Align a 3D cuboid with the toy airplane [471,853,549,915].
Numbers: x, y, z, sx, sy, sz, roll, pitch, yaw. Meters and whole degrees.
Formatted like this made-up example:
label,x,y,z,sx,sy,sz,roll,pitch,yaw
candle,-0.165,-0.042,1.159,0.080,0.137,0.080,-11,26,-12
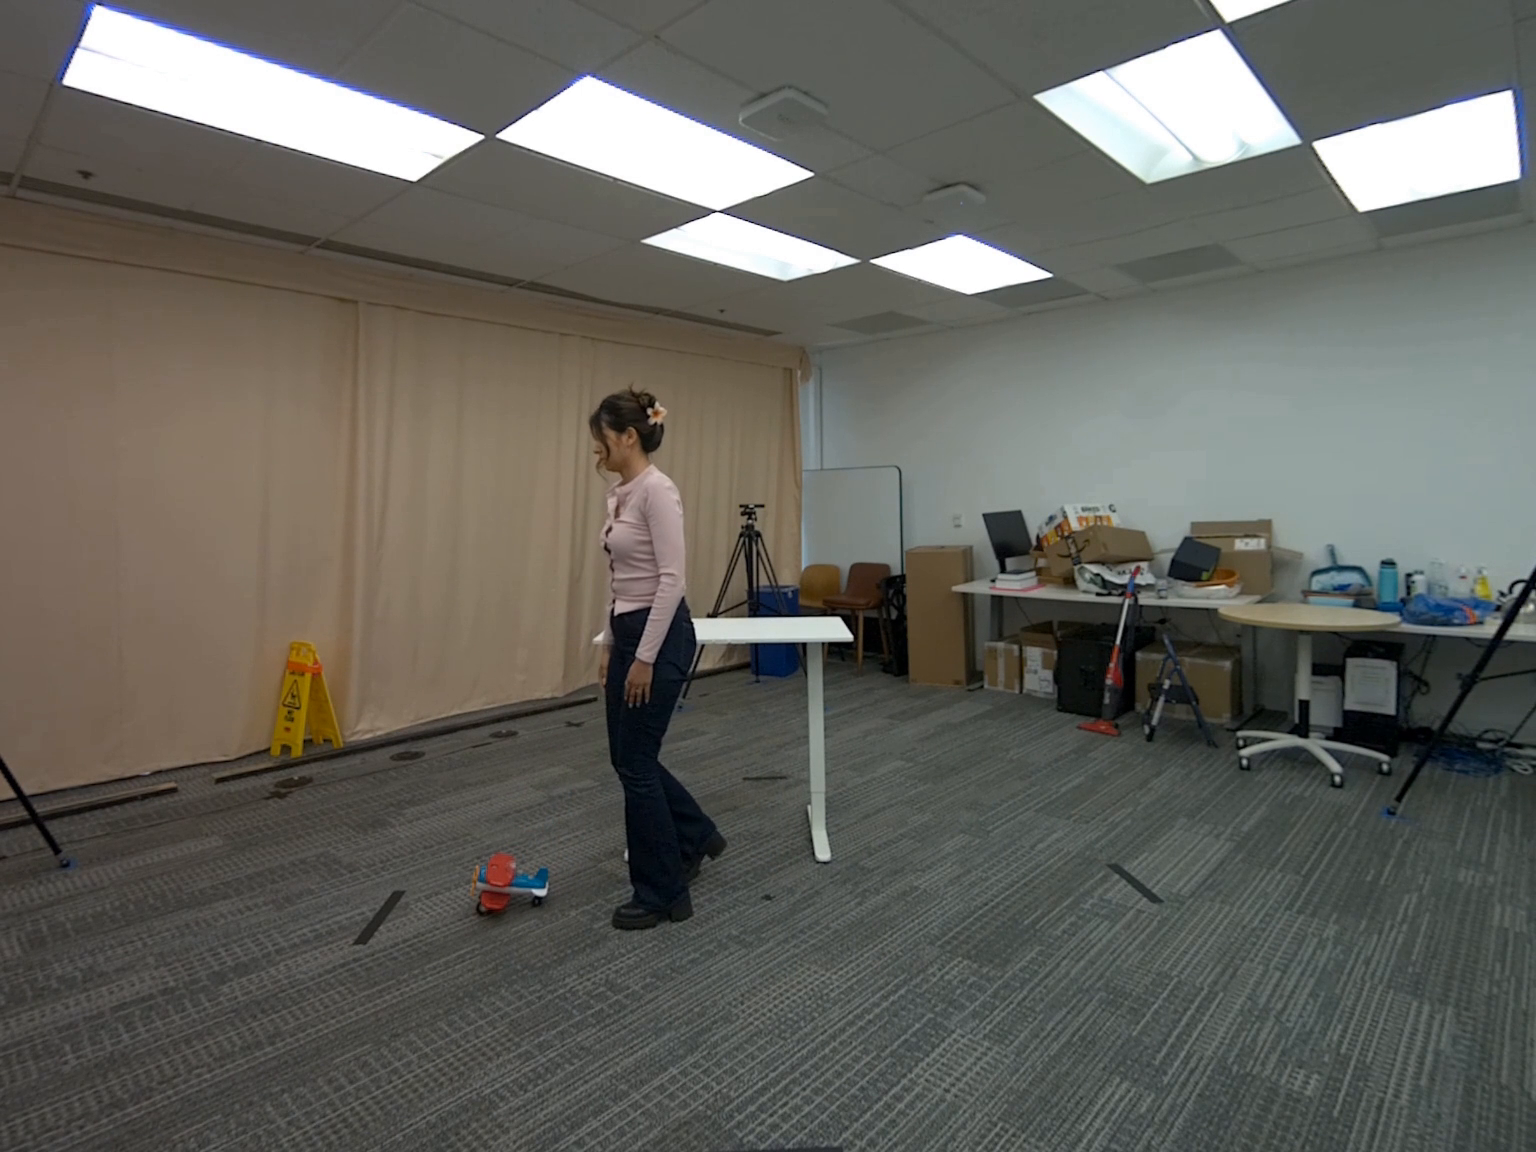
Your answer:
label,x,y,z,sx,sy,sz,roll,pitch,yaw
toy airplane,-0.912,1.093,2.974,0.251,0.156,0.259,-4,4,-37
